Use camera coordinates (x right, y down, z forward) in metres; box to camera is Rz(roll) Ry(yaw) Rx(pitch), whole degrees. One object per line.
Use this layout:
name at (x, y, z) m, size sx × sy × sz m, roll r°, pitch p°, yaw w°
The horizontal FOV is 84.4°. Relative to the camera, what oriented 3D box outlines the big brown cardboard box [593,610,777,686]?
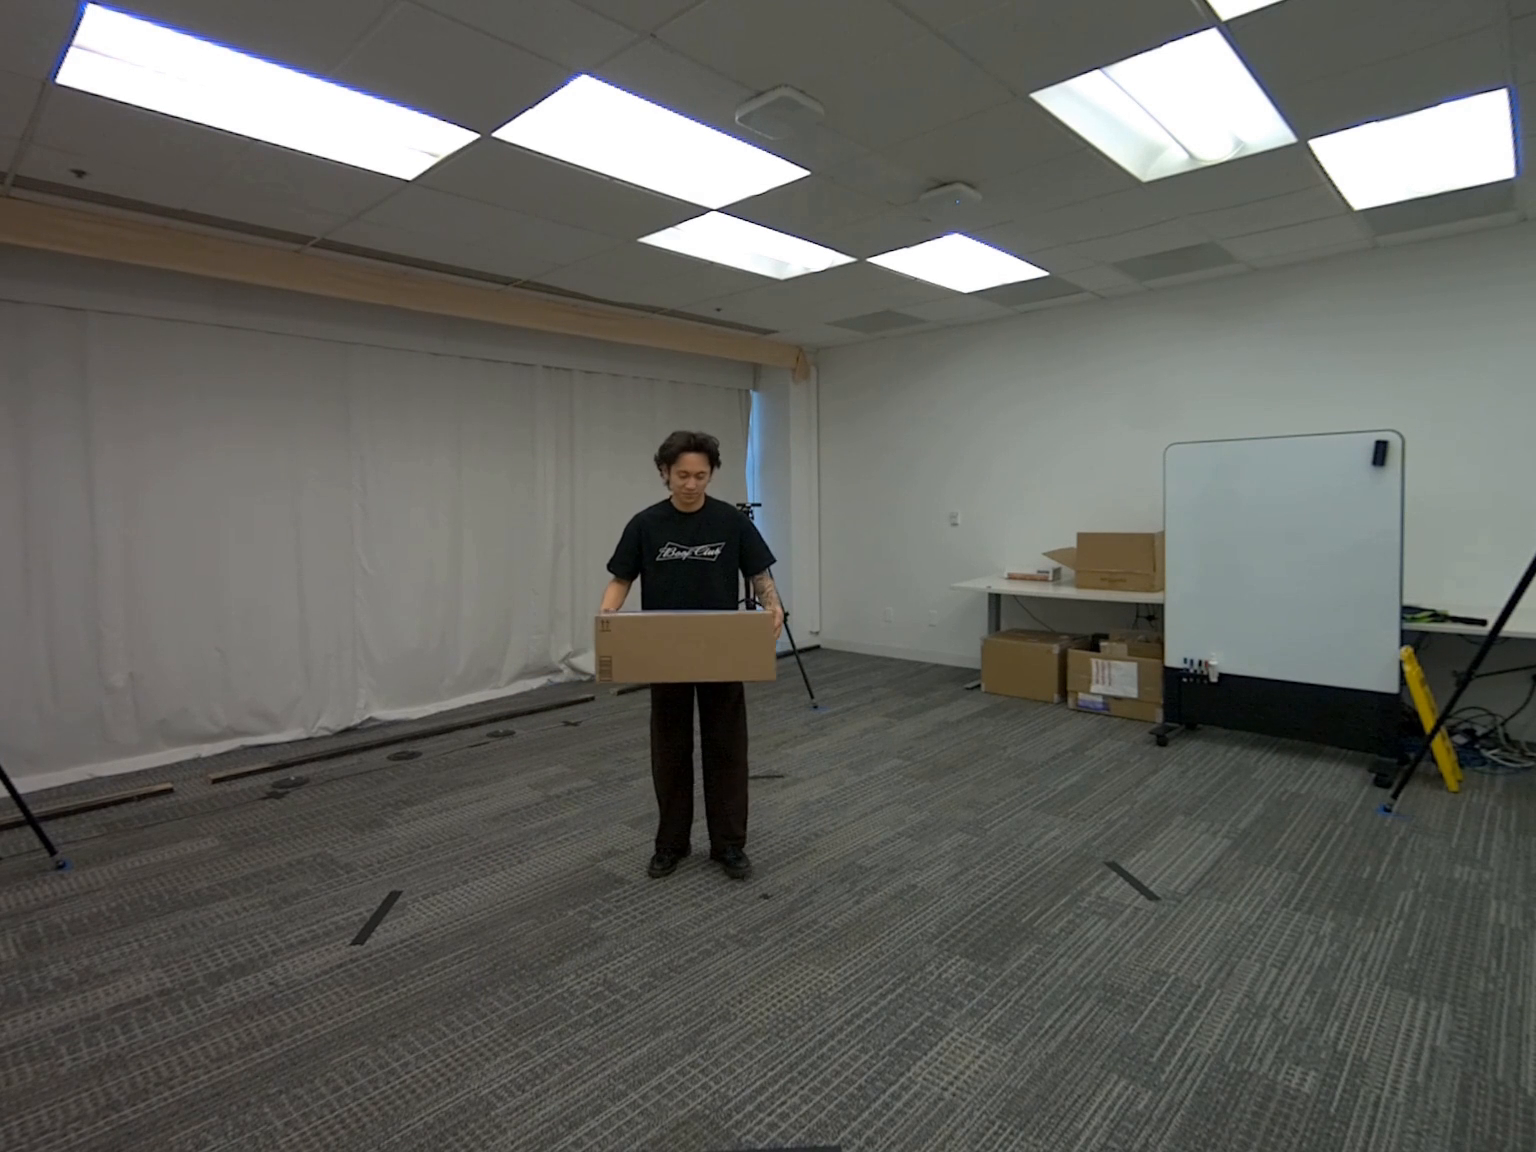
big brown cardboard box at (-0.270, 0.228, 2.839) m, size 0.588 × 0.233 × 0.417 m, roll 0°, pitch -1°, yaw -2°
